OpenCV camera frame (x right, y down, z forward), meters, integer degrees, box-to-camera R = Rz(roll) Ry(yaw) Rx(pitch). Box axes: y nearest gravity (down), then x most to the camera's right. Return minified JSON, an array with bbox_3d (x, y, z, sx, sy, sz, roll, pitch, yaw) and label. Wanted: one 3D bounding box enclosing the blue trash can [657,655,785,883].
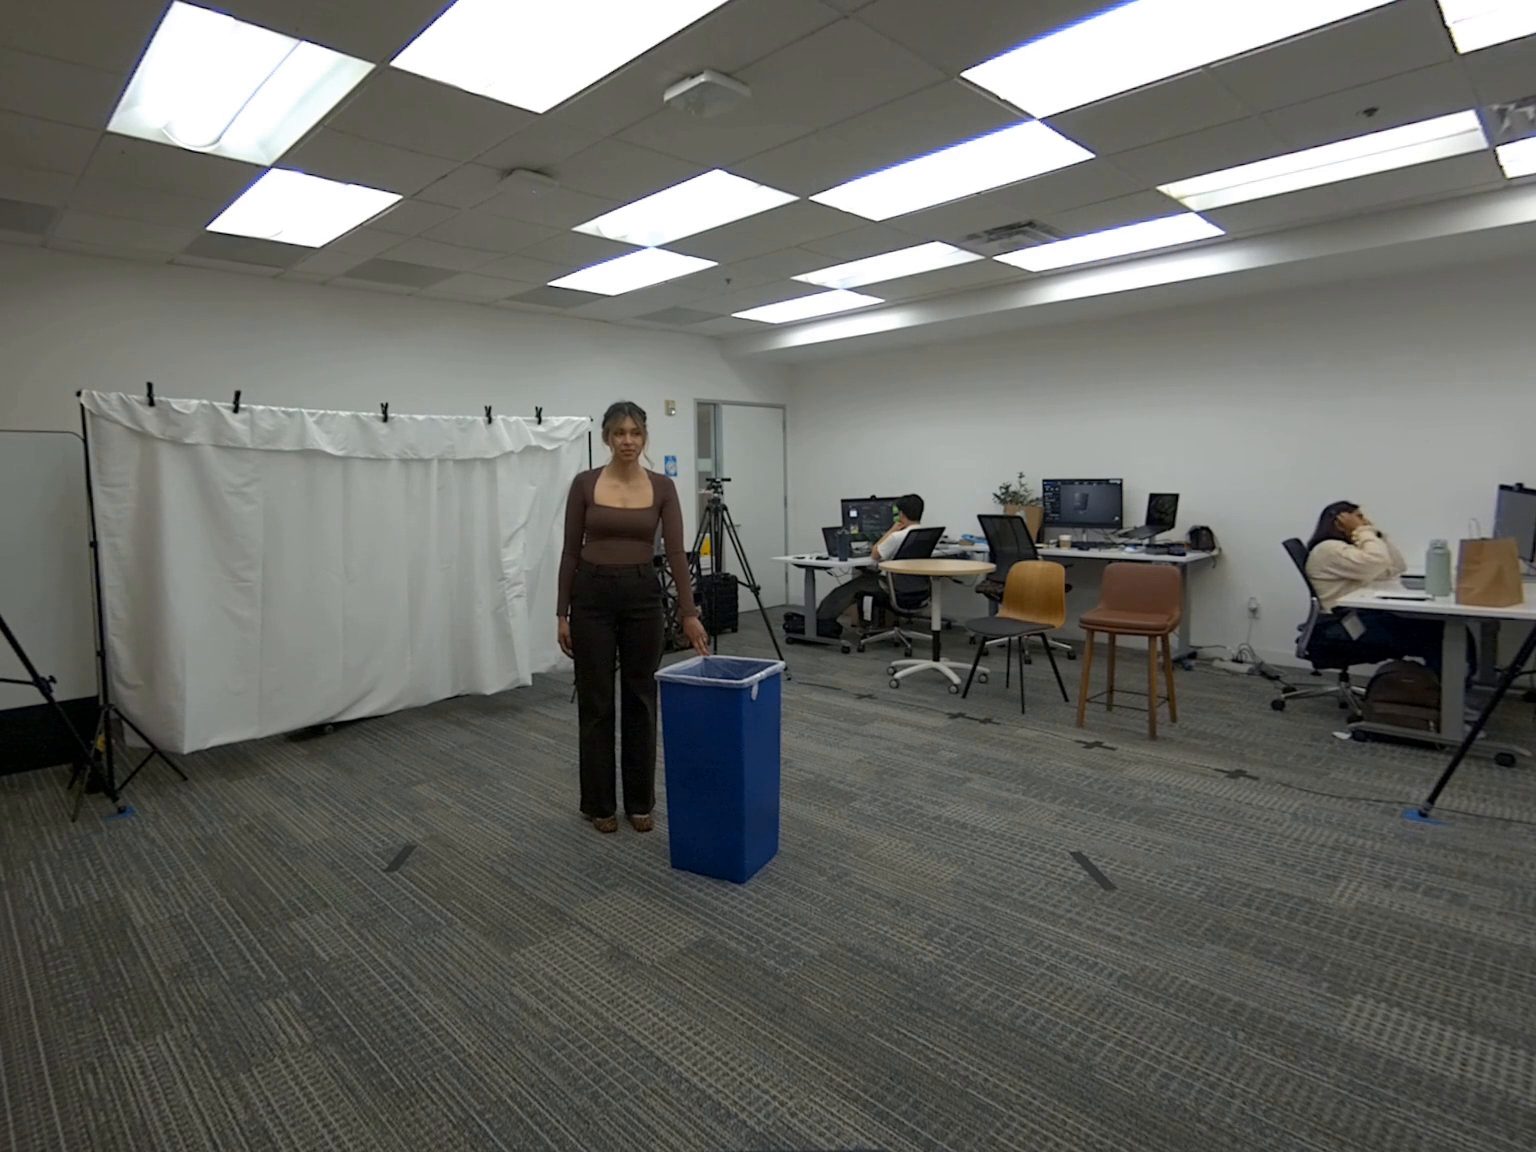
[{"bbox_3d":[-0.165,0.684,3.118,0.383,0.711,0.370,2,4,27],"label":"blue trash can"}]
